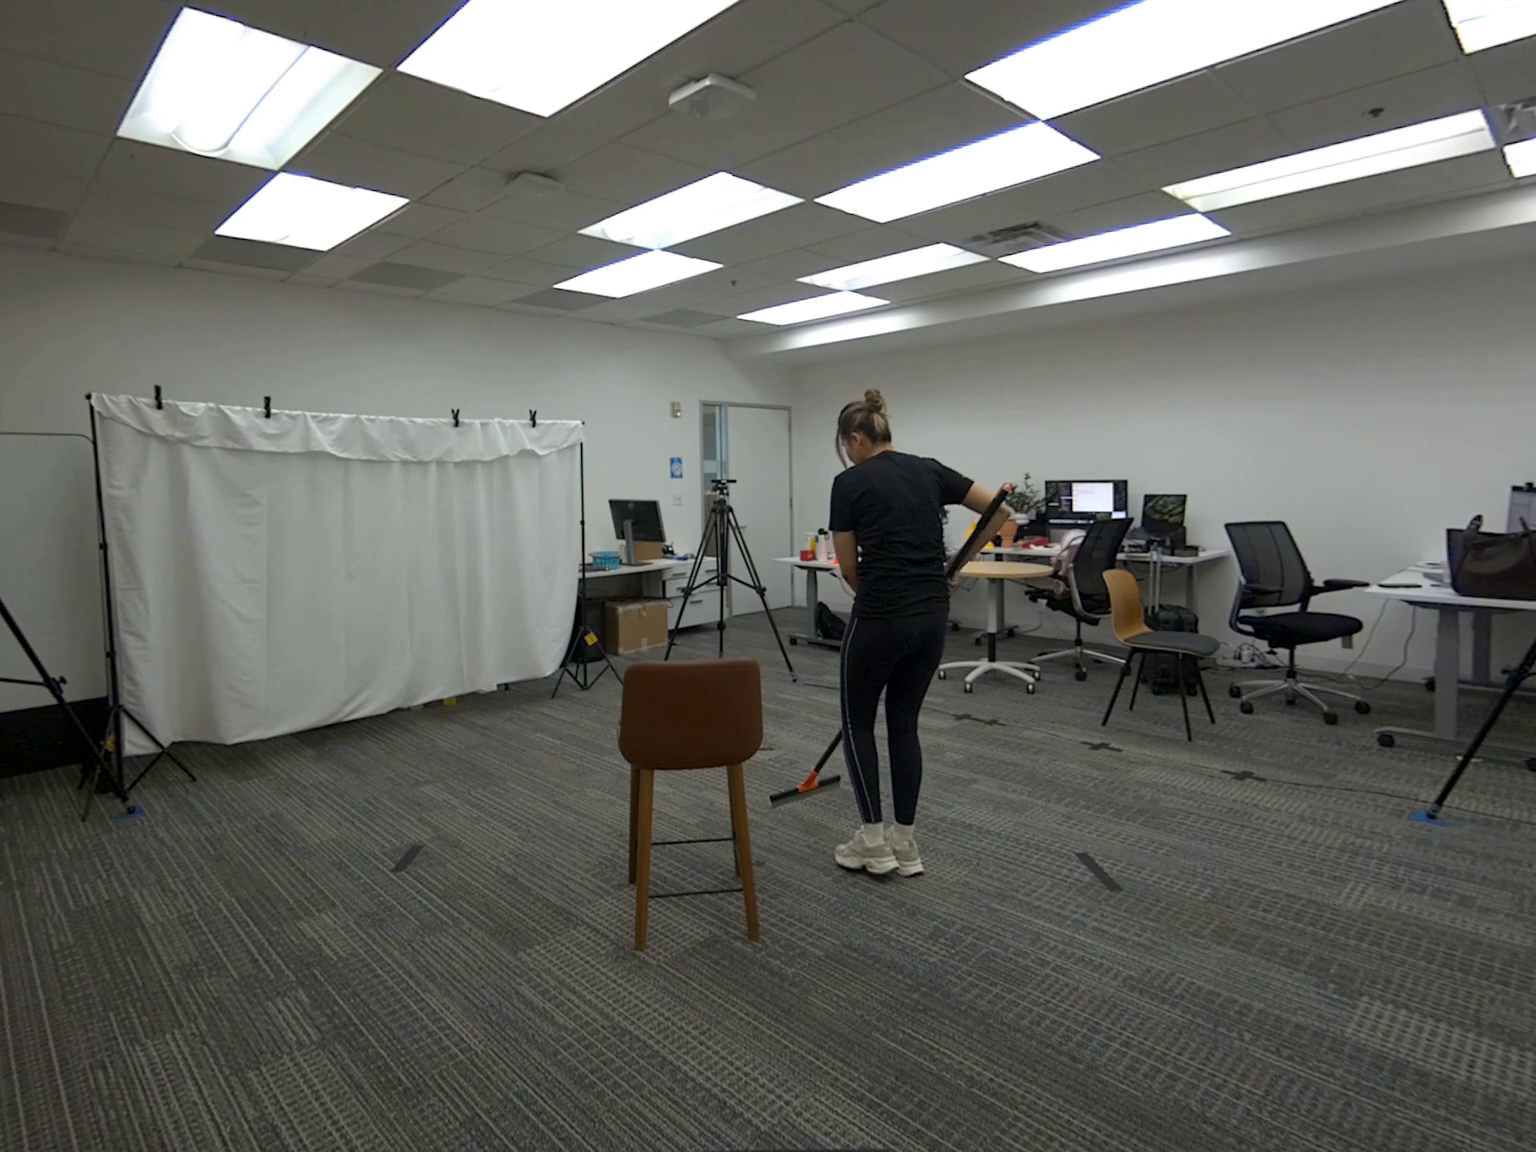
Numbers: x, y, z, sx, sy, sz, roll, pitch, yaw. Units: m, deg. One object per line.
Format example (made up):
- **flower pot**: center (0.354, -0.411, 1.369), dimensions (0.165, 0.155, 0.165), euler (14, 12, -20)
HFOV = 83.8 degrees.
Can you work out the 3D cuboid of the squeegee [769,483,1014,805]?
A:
- **squeegee**: center (0.490, 0.296, 3.244), dimensions (0.425, 1.528, 0.055), euler (-3, 43, -51)
